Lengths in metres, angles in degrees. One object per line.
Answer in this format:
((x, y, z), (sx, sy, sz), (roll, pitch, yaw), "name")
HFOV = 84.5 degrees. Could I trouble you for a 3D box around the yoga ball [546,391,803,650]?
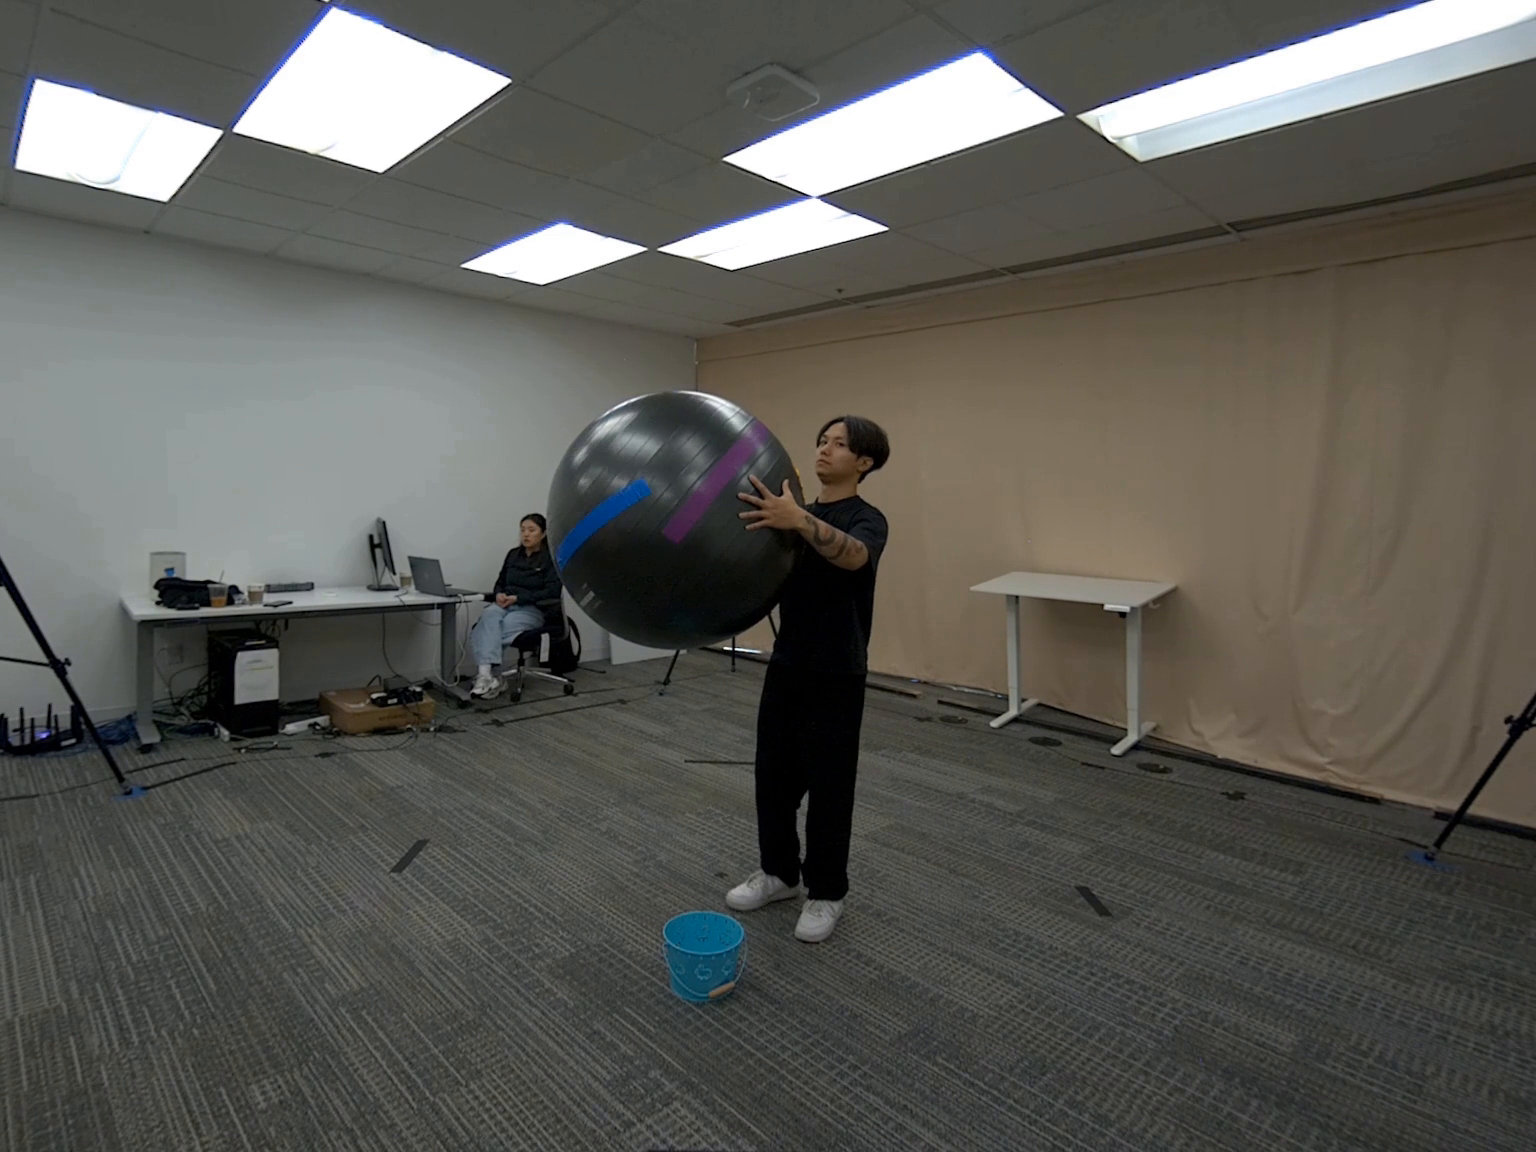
((-0.279, -0.153, 2.477), (0.757, 0.756, 0.761), (1, 4, -1), "yoga ball")
